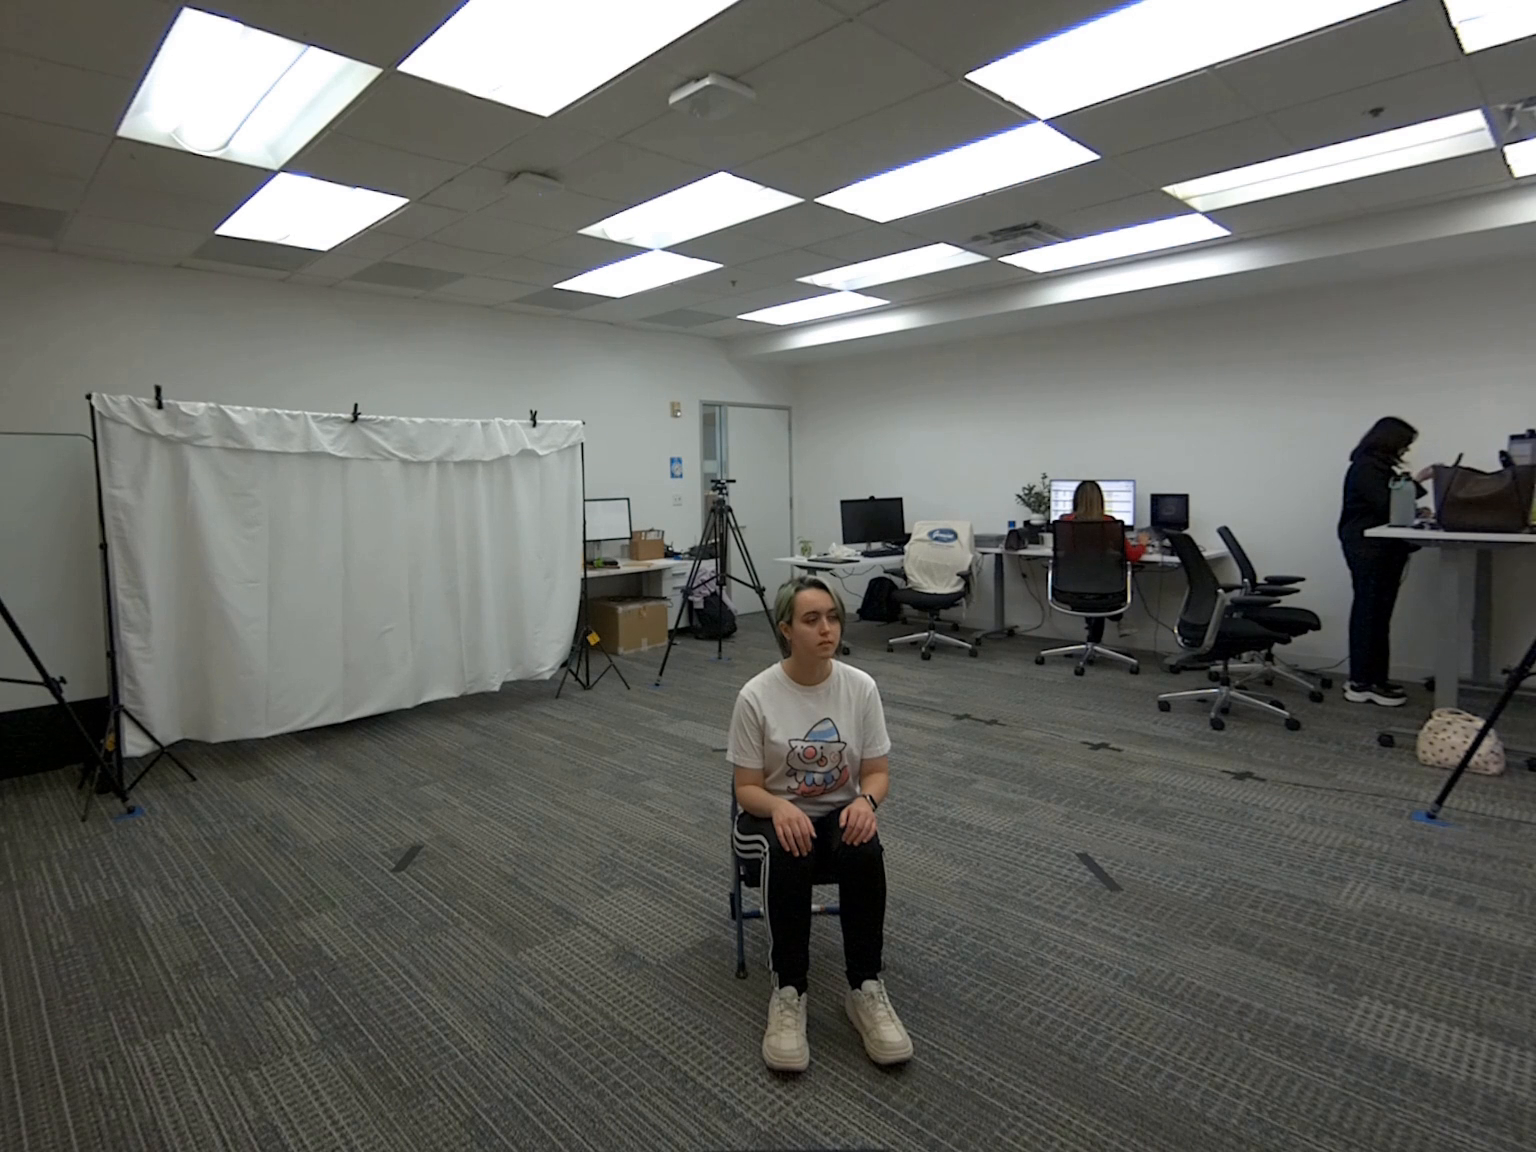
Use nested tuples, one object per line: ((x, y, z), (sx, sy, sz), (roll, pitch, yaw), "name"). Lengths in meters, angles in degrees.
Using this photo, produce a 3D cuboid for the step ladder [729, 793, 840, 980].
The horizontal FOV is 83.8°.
((0.108, 0.811, 2.568), (0.429, 0.603, 0.353), (-2, 5, -5), "step ladder")
